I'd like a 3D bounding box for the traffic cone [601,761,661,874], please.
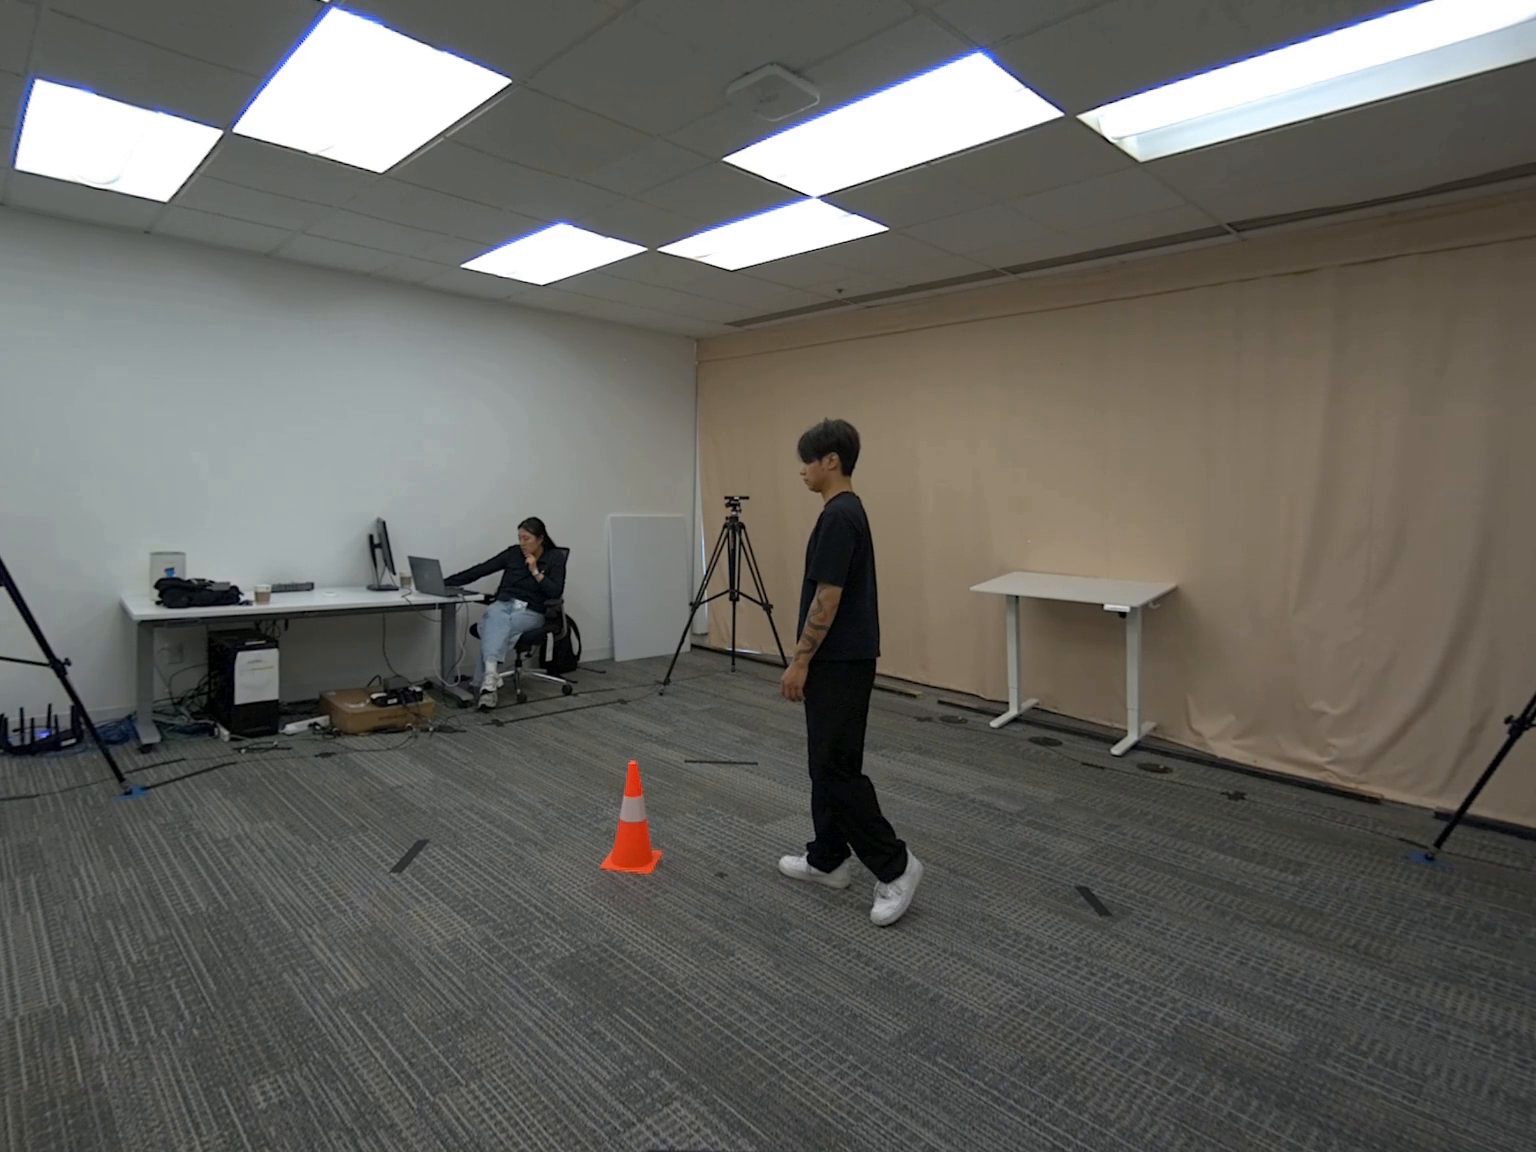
[{"bbox_3d":[-0.513,0.894,3.220,0.205,0.383,0.203,3,1,9],"label":"traffic cone"}]
